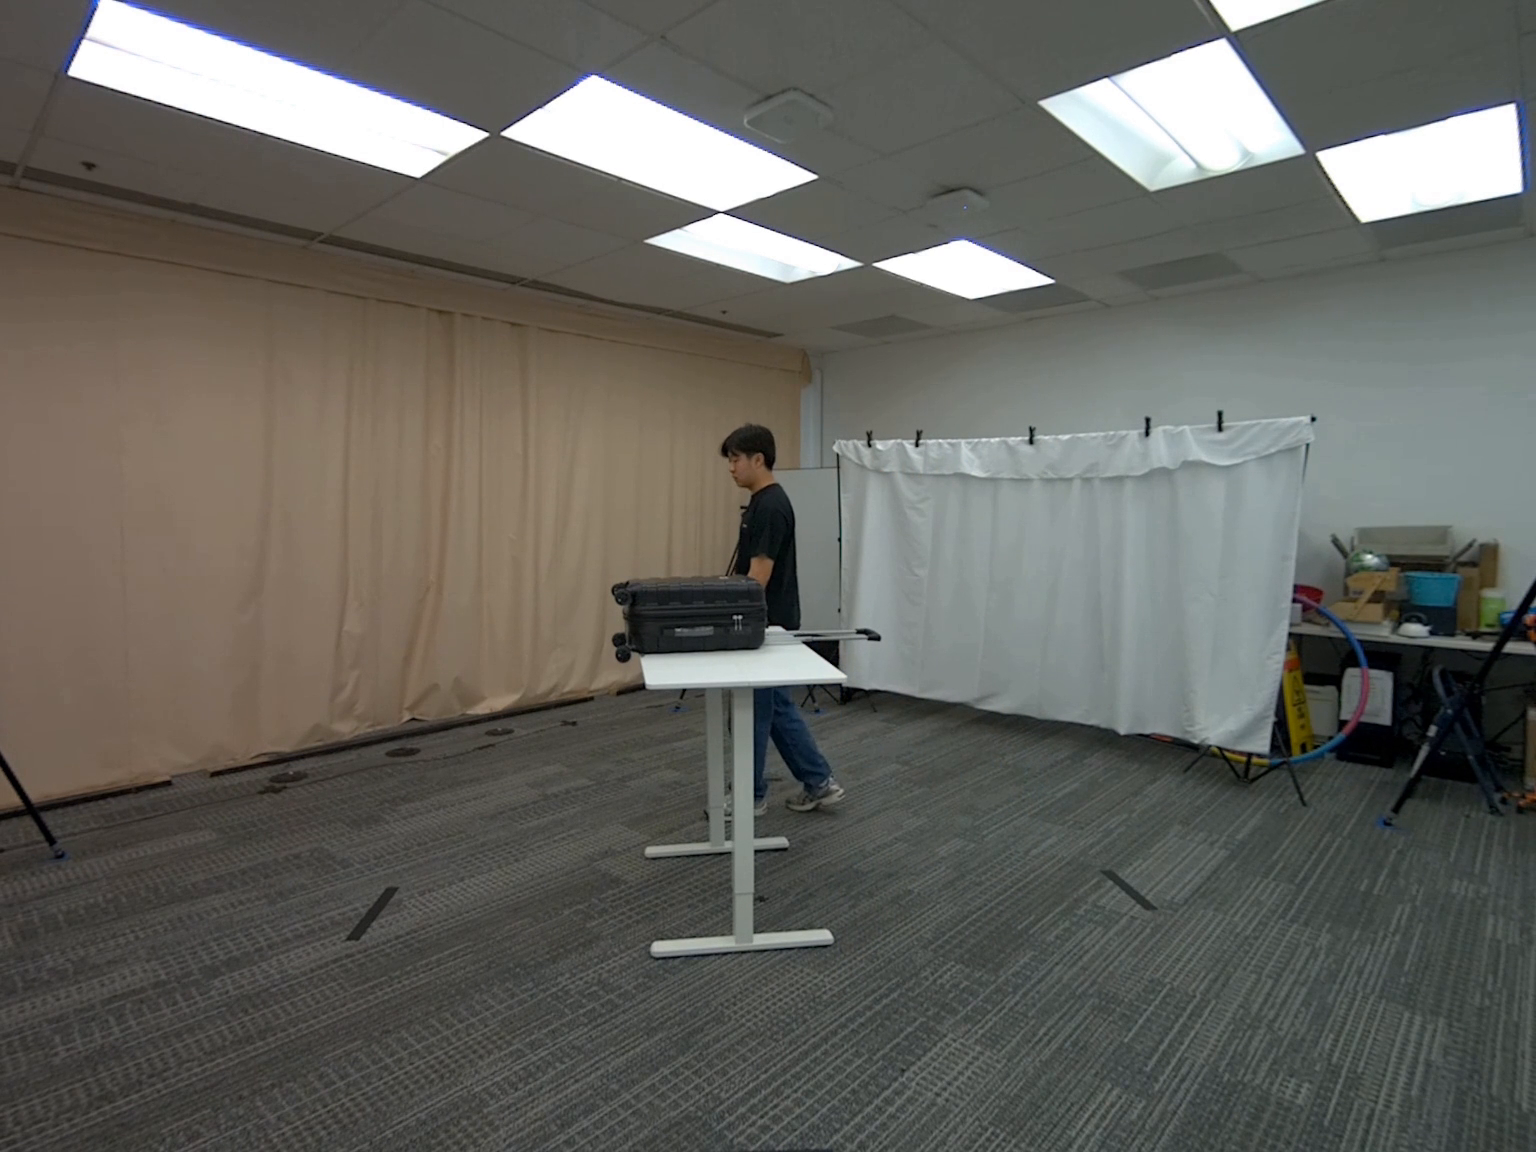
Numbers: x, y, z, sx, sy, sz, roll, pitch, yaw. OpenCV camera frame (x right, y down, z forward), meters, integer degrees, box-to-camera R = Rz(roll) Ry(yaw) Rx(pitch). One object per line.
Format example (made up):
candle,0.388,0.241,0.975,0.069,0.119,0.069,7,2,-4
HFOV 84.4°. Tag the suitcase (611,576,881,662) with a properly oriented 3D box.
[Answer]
suitcase,-0.090,0.130,3.113,0.968,0.256,0.389,-4,5,-11
